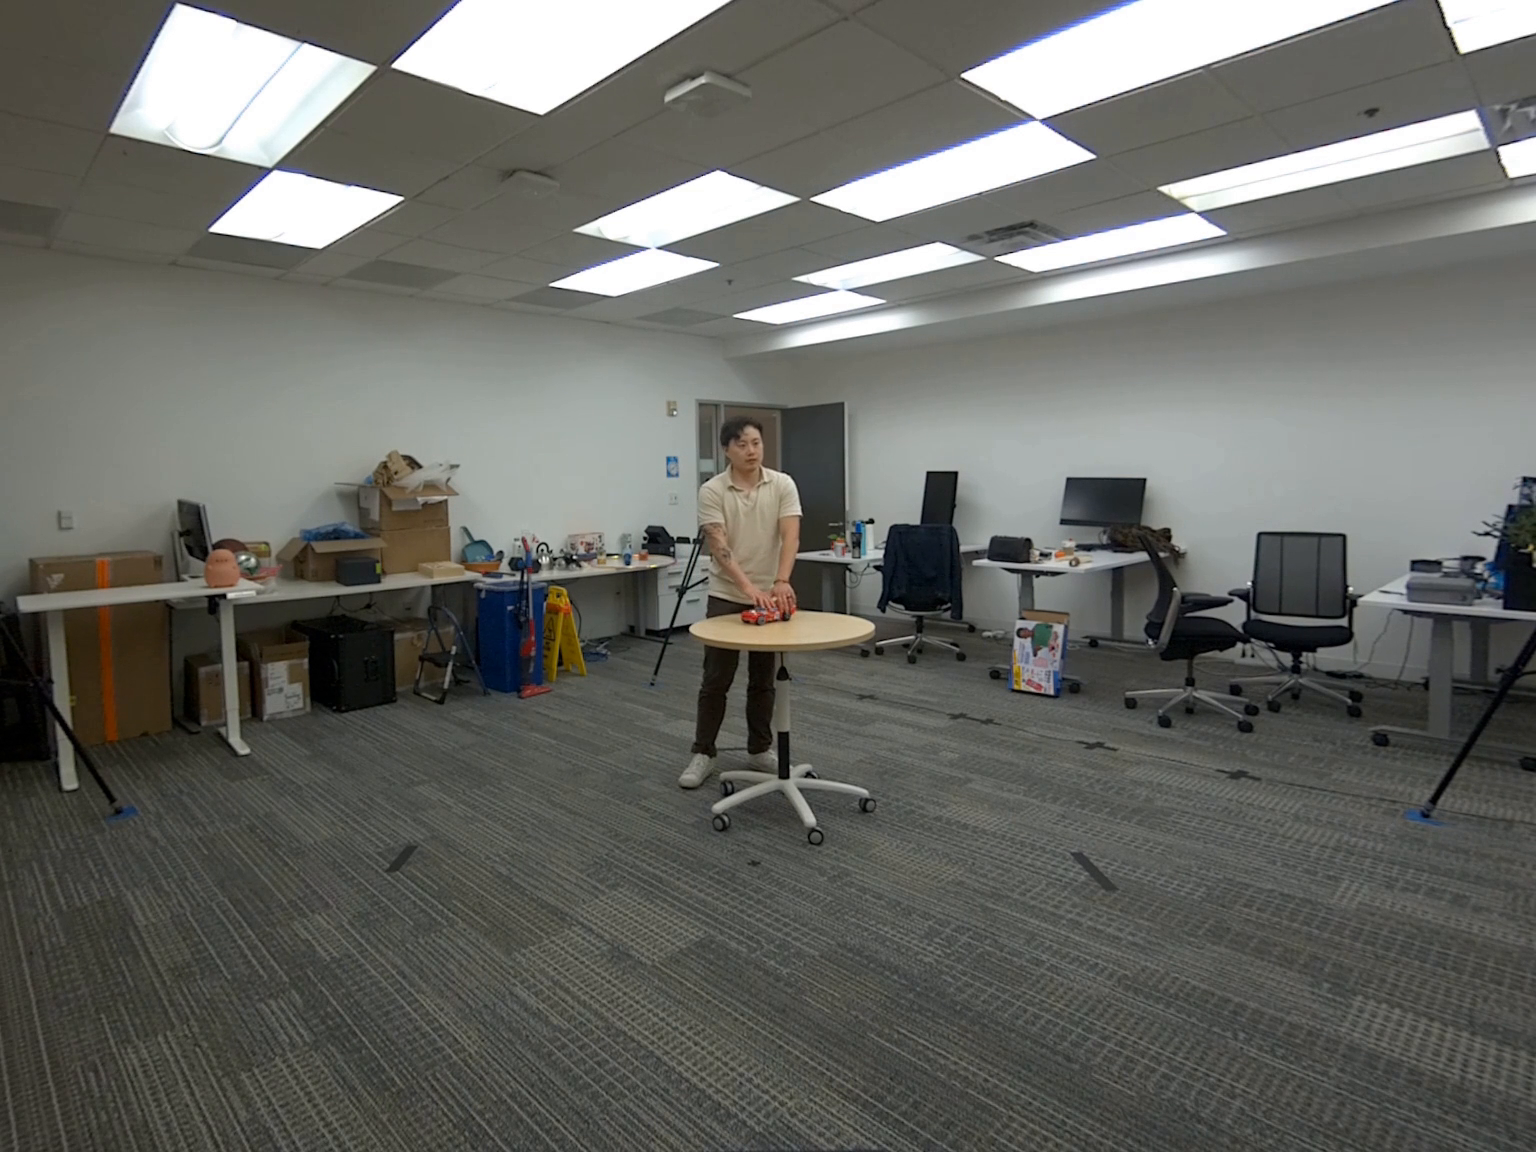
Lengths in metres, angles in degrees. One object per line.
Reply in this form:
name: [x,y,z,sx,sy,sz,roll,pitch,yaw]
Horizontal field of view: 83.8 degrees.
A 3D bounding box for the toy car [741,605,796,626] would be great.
toy car: [0.006,0.167,3.678,0.250,0.082,0.134,-20,16,-38]
